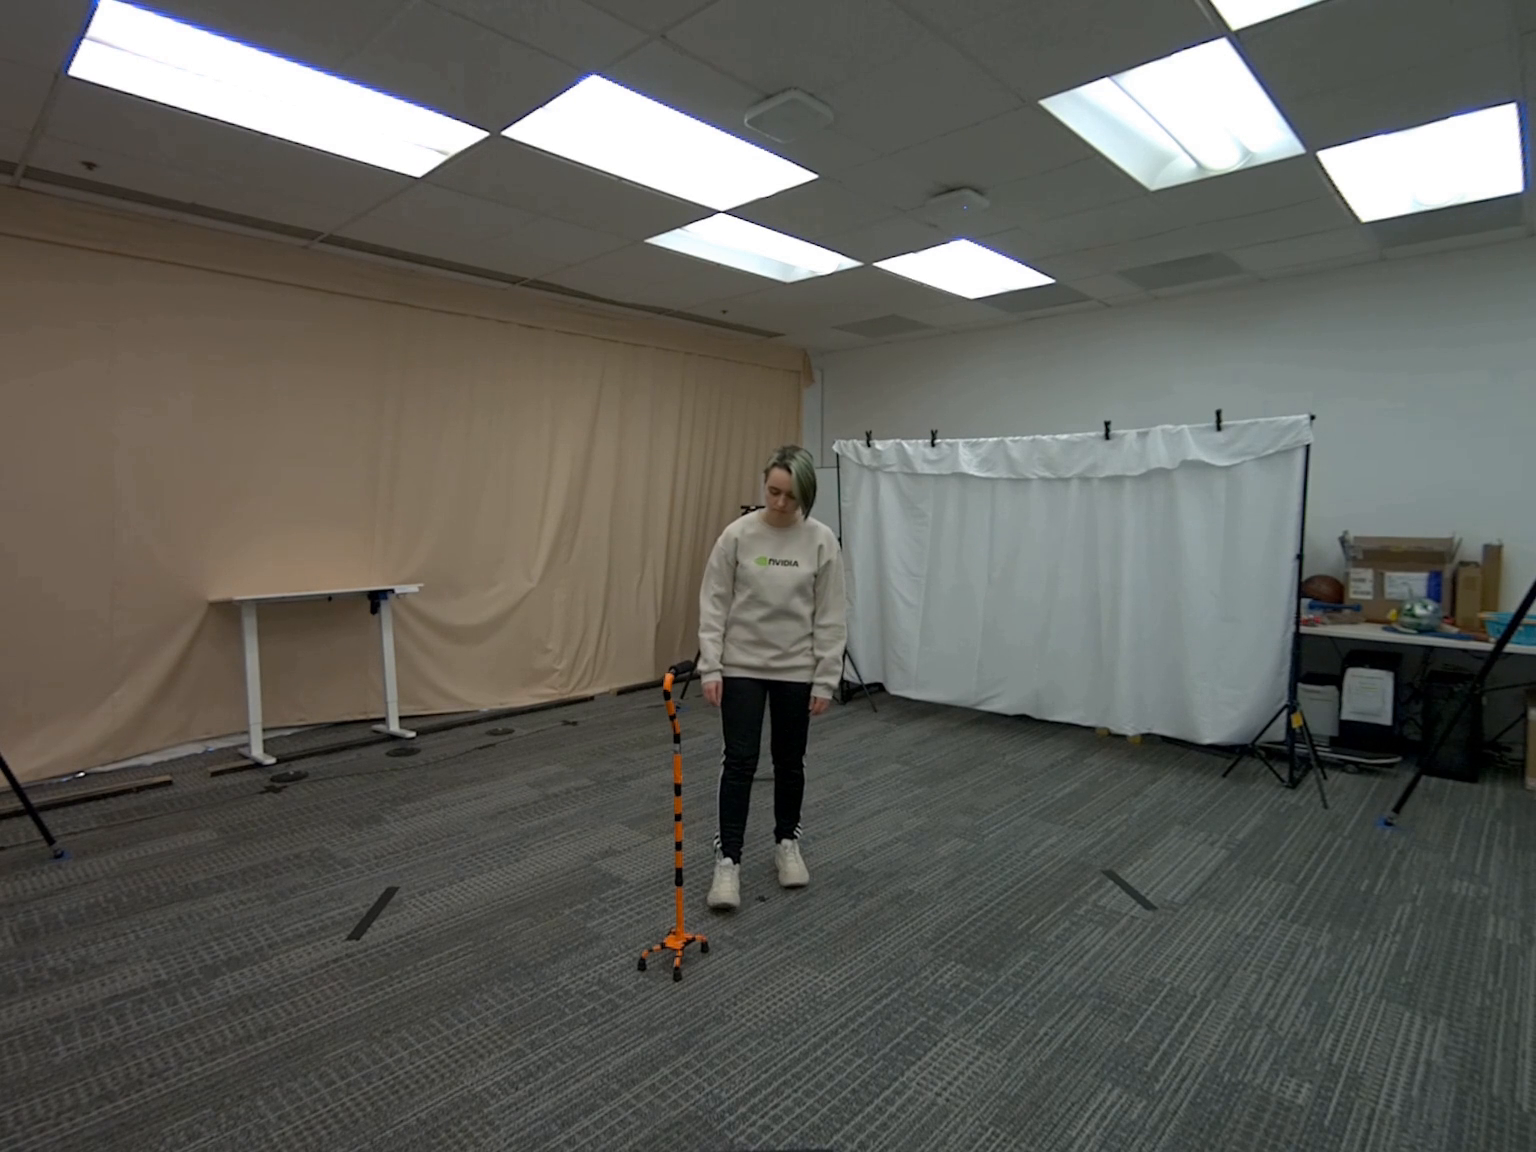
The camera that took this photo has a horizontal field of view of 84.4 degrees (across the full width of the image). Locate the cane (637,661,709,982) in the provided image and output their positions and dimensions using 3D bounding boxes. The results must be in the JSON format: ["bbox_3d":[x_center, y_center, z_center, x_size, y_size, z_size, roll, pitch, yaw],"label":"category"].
[{"bbox_3d":[-0.288,0.729,2.550,0.155,0.906,0.202,2,4,23],"label":"cane"}]
